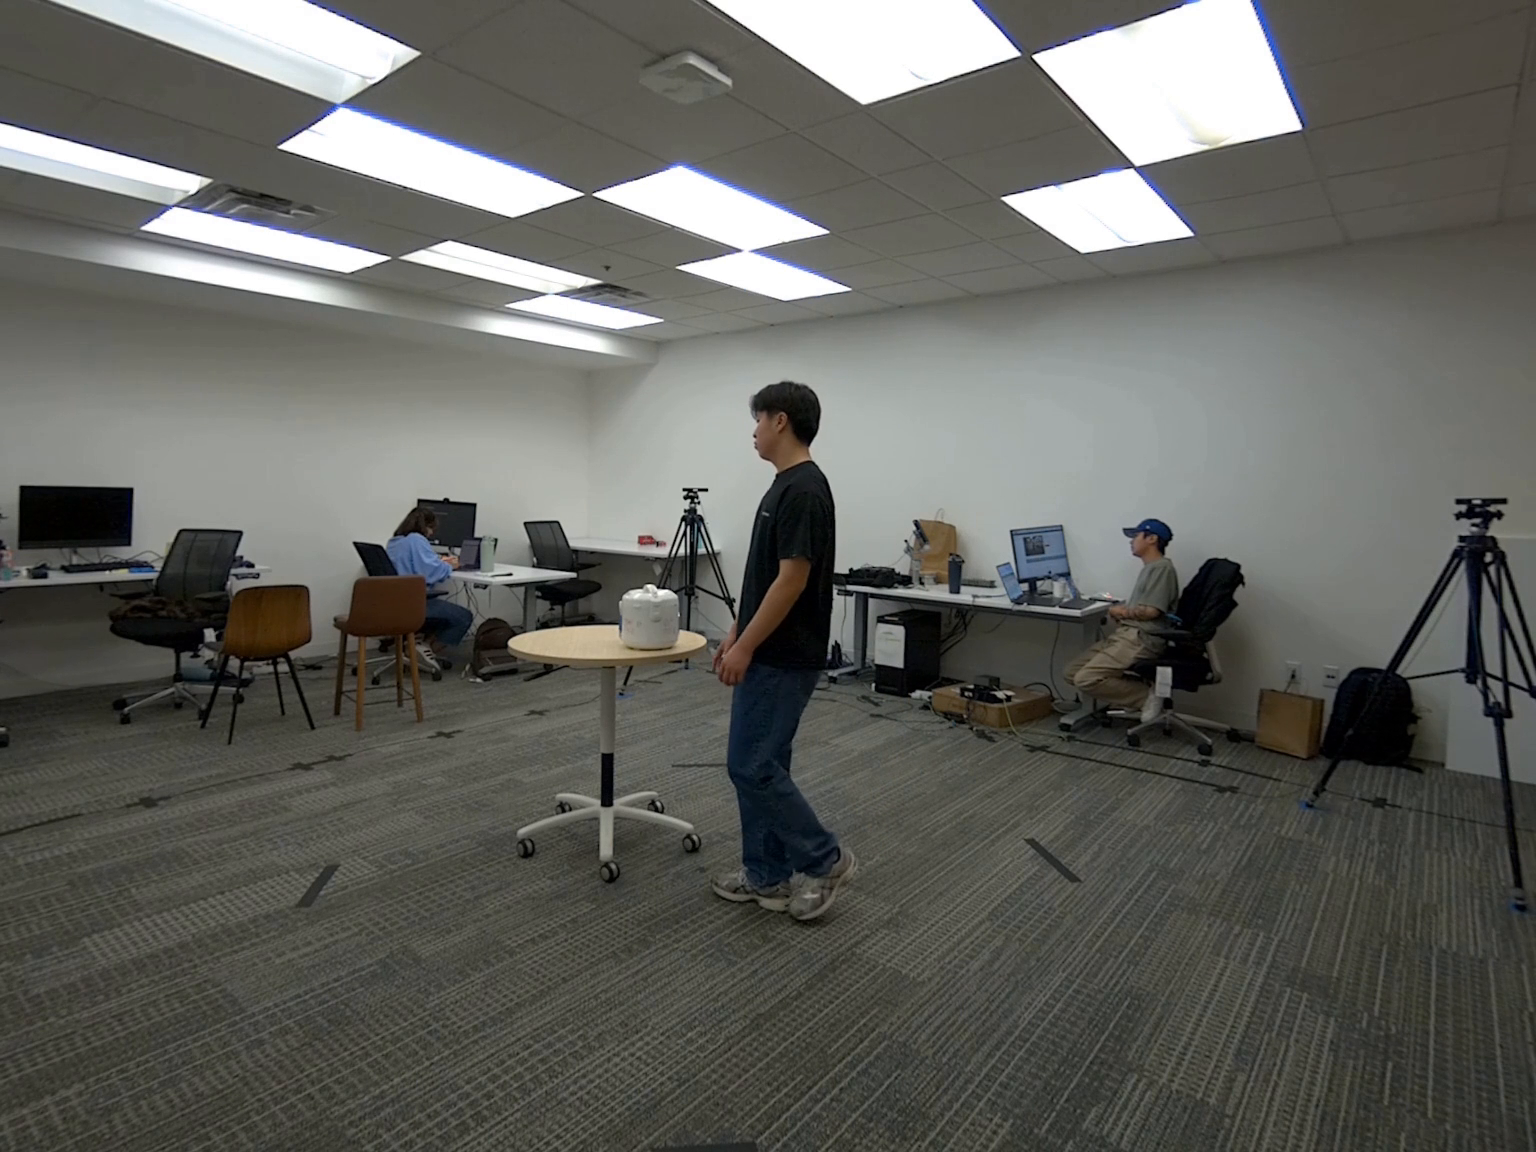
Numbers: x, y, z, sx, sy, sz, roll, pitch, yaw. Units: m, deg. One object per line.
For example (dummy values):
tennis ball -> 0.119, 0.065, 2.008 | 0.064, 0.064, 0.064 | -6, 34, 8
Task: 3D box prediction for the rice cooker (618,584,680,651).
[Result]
rice cooker -> -0.454, 0.145, 3.186 | 0.214, 0.232, 0.225 | 0, 5, -18
